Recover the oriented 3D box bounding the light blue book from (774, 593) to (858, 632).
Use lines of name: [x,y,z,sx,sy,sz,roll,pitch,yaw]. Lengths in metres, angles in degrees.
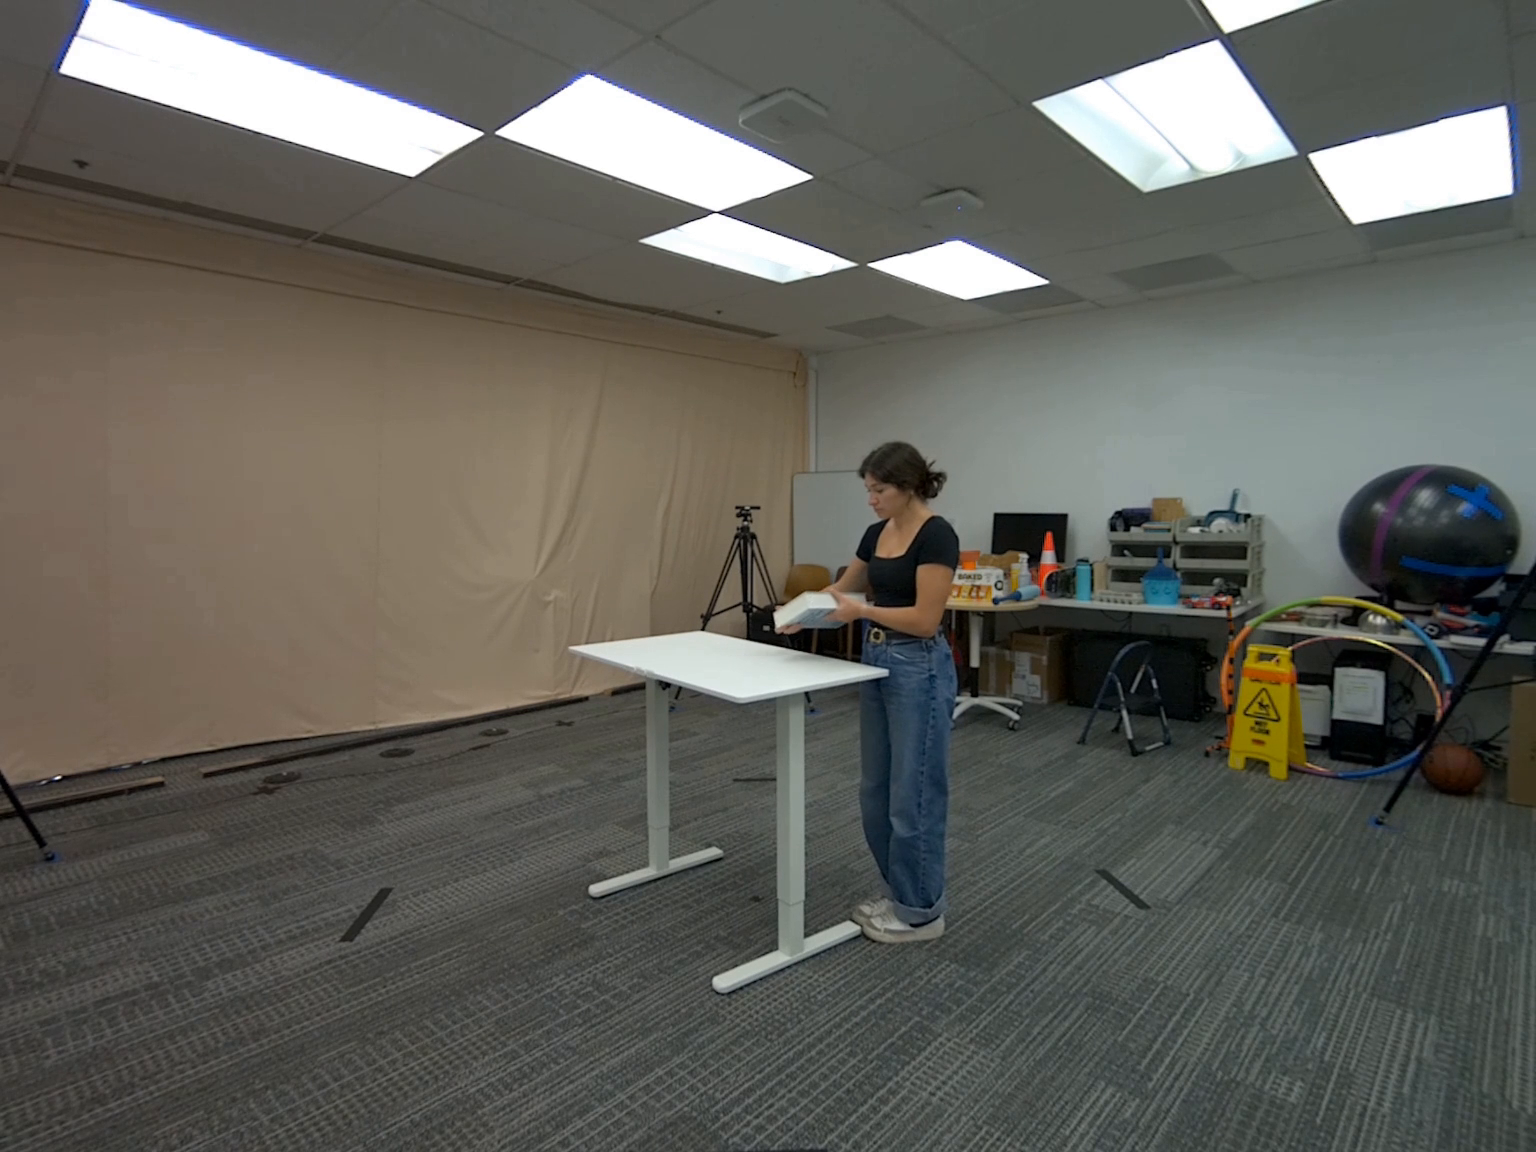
light blue book: [0.184,0.122,2.805,0.254,0.060,0.193,3,-24,-31]
